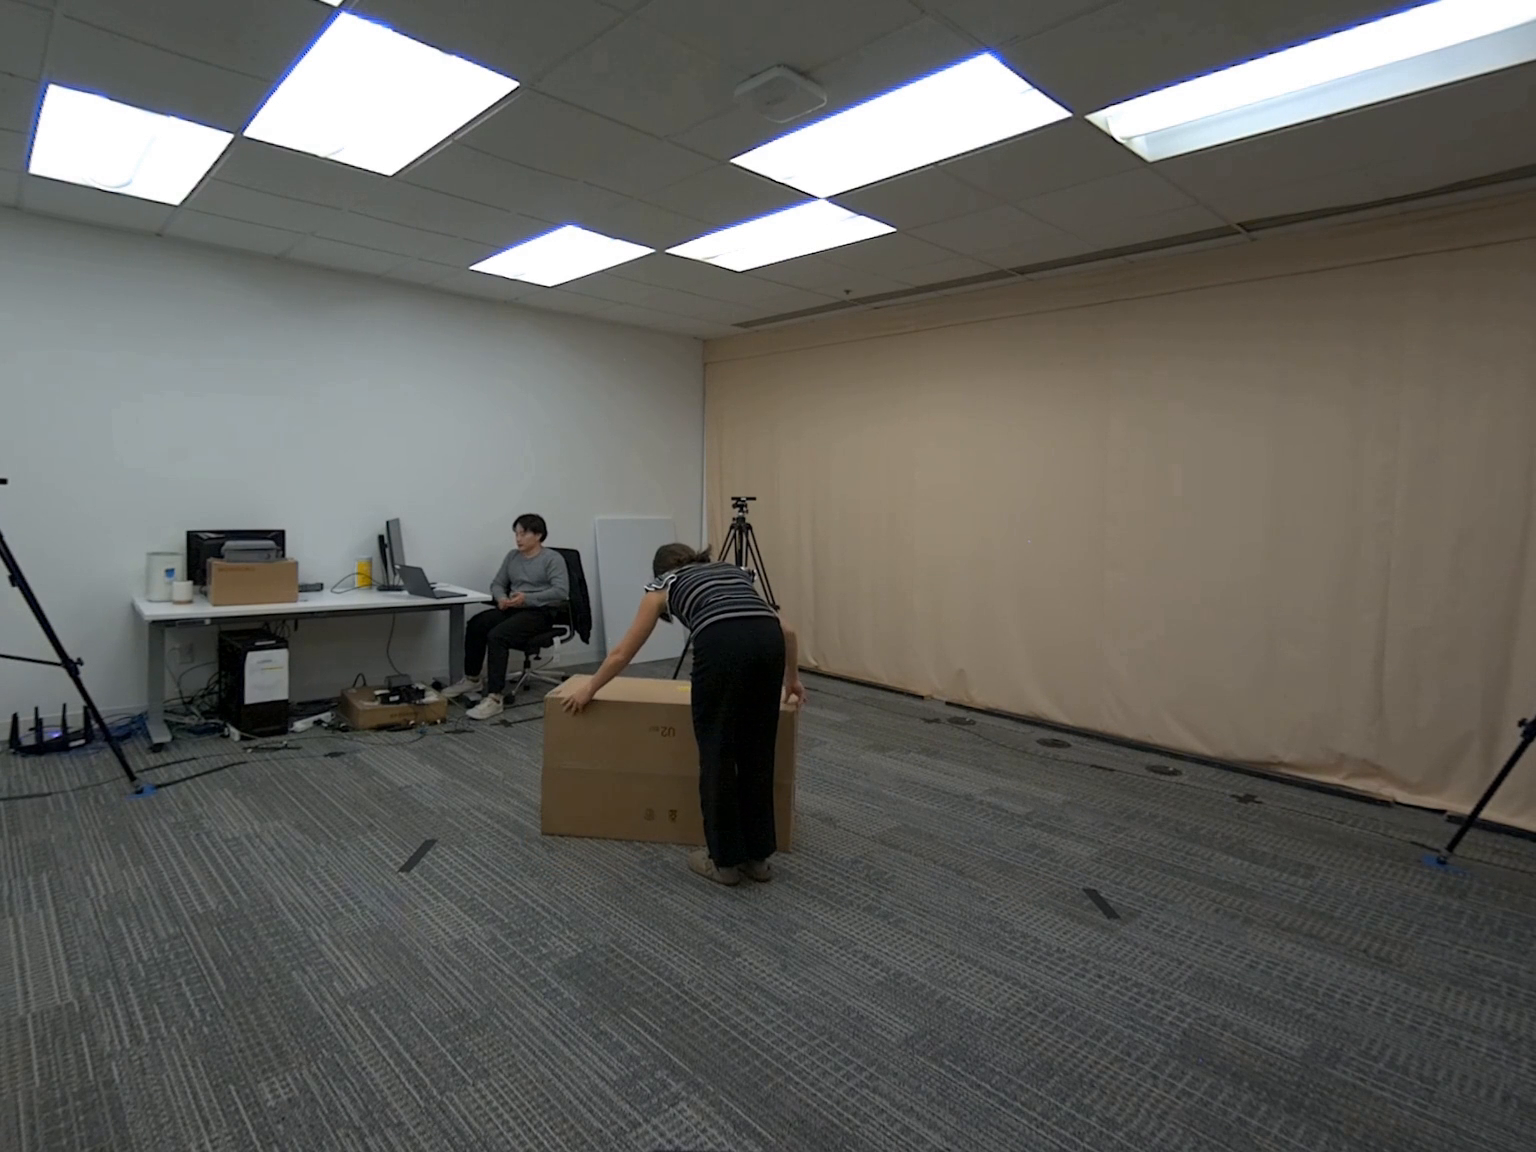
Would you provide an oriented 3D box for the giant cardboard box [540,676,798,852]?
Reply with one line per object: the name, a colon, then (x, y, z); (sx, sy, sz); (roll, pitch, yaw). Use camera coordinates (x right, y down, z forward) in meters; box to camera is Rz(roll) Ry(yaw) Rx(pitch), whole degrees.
giant cardboard box: (-0.403, 0.766, 3.585); (1.031, 0.576, 0.425); (3, 4, 6)
